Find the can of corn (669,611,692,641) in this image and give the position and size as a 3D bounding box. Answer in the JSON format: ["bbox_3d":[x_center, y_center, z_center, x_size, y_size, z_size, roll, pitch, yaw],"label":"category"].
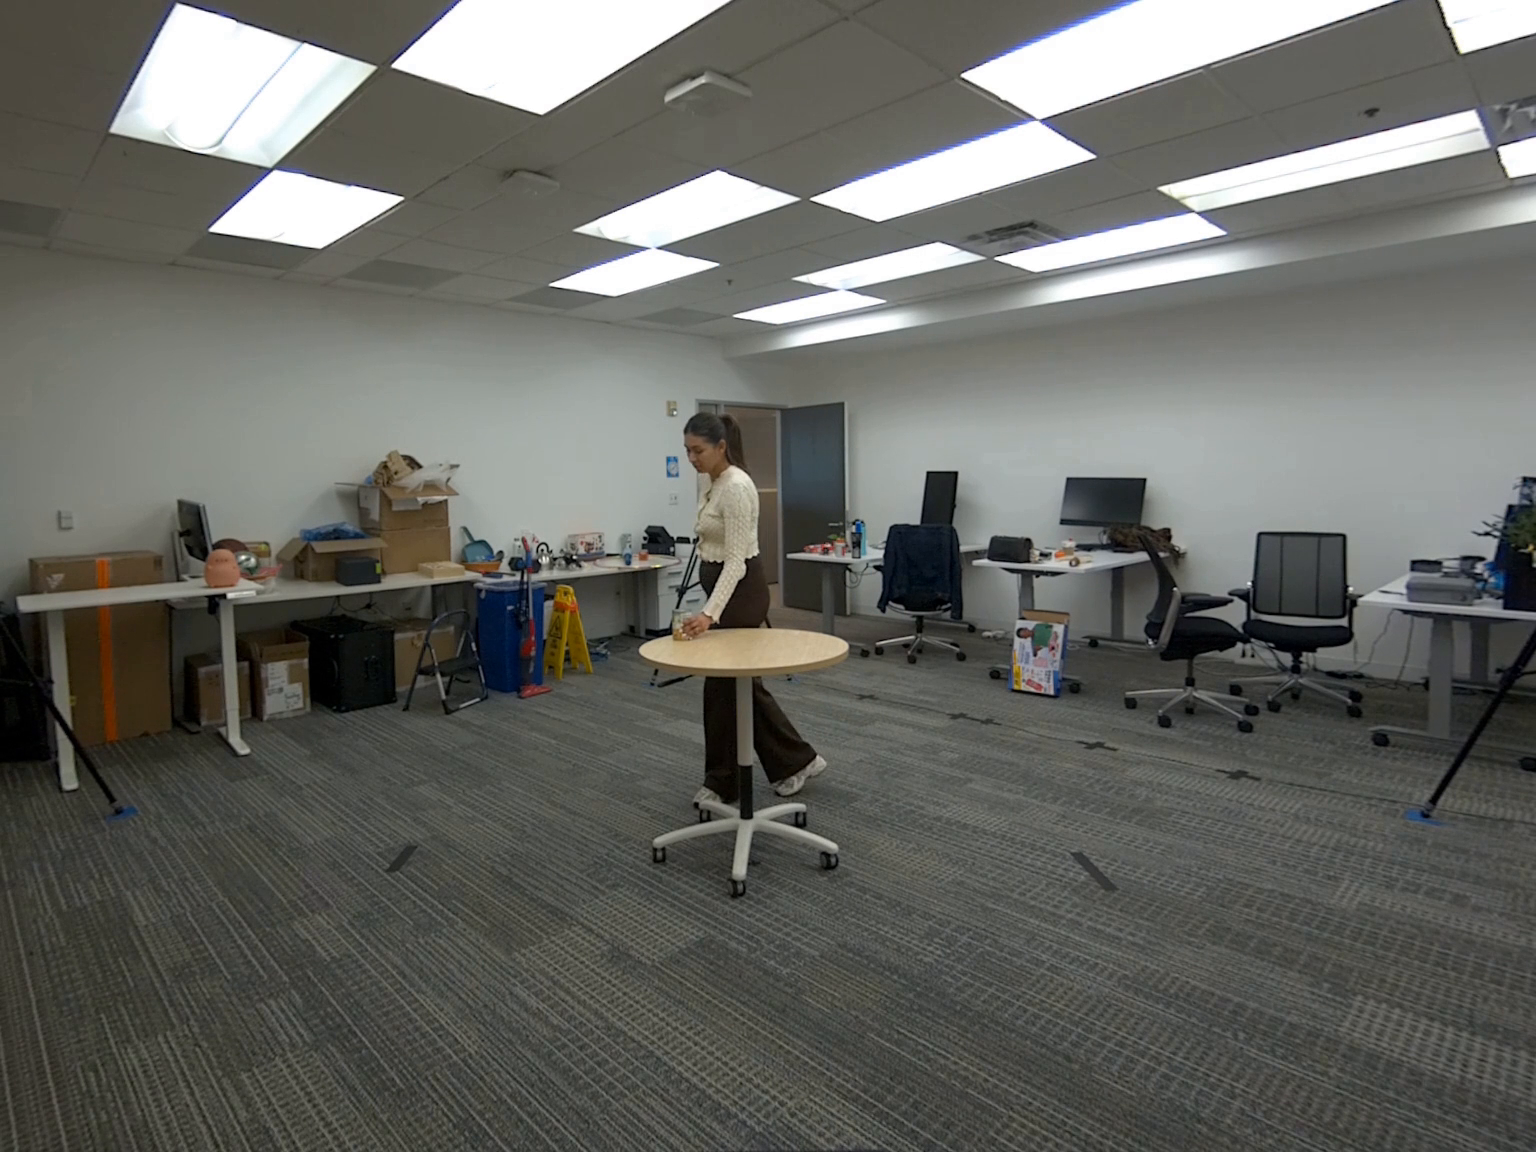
[{"bbox_3d":[-0.325,0.189,3.297,0.074,0.111,0.074,1,3,-2],"label":"can of corn"}]
